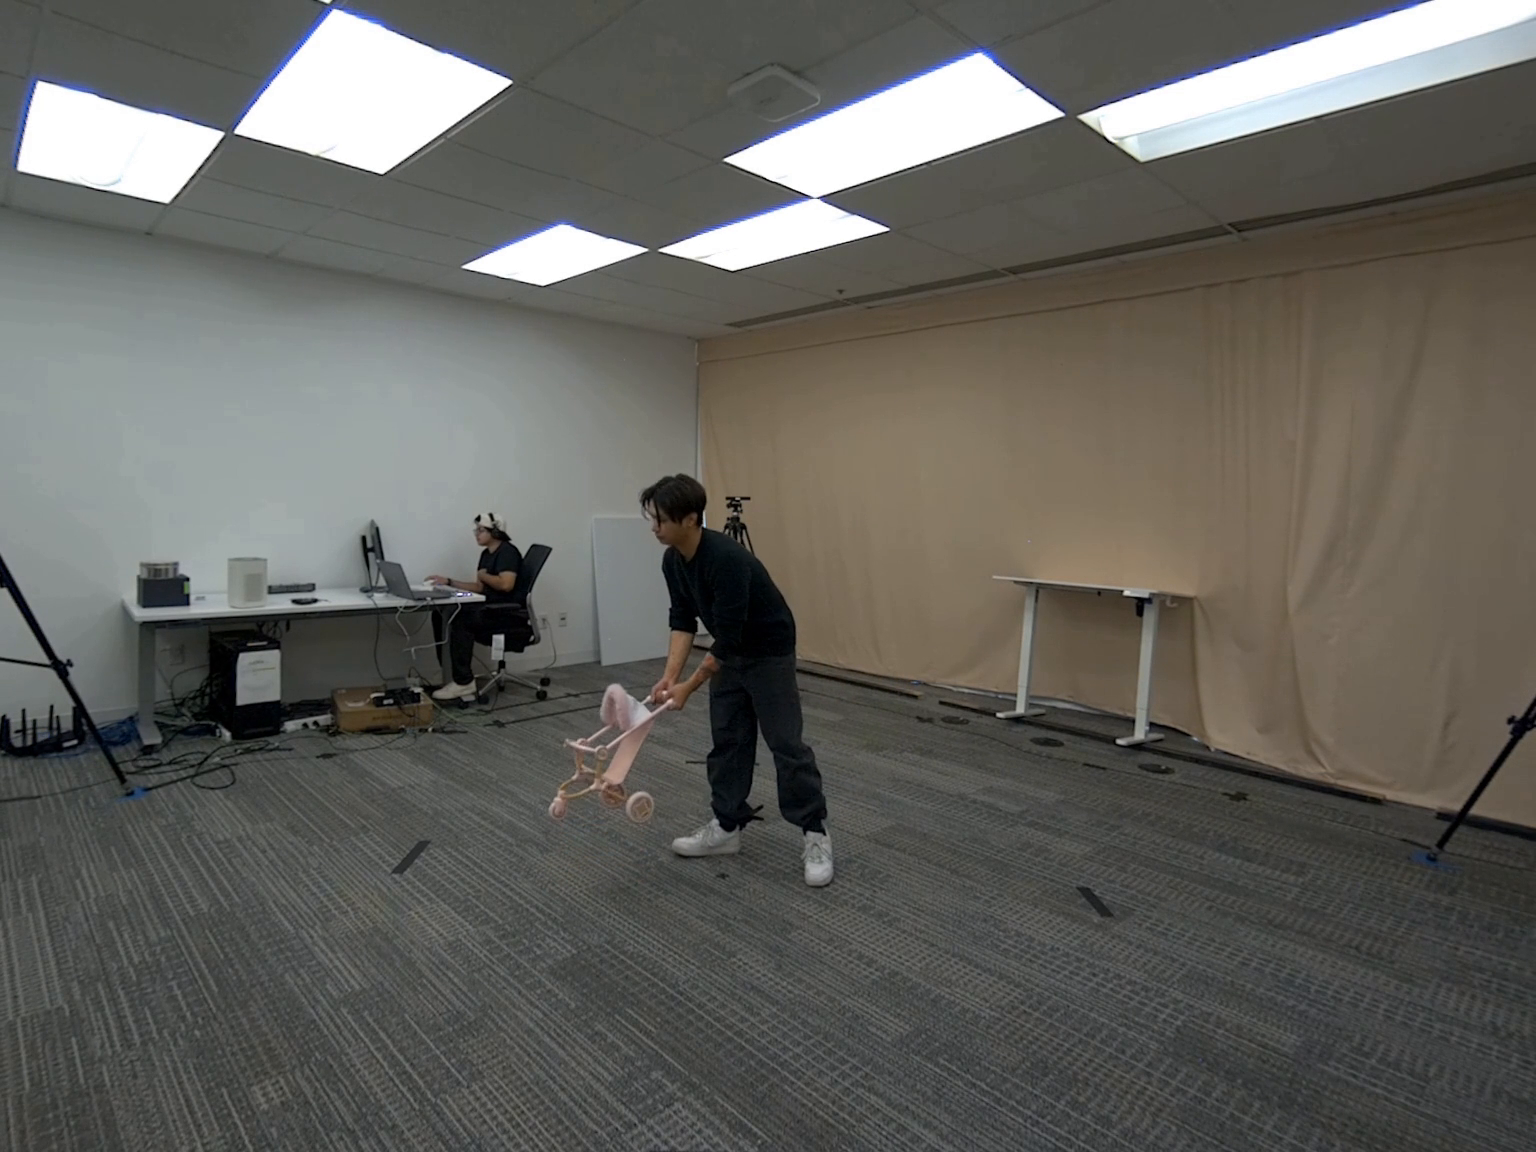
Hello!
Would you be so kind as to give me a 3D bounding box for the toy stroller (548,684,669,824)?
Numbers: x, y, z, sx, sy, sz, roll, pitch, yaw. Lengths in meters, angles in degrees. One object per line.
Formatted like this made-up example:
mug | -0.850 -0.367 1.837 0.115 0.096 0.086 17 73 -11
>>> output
toy stroller | -0.566 0.636 3.019 0.334 0.538 0.286 21 -12 -25
